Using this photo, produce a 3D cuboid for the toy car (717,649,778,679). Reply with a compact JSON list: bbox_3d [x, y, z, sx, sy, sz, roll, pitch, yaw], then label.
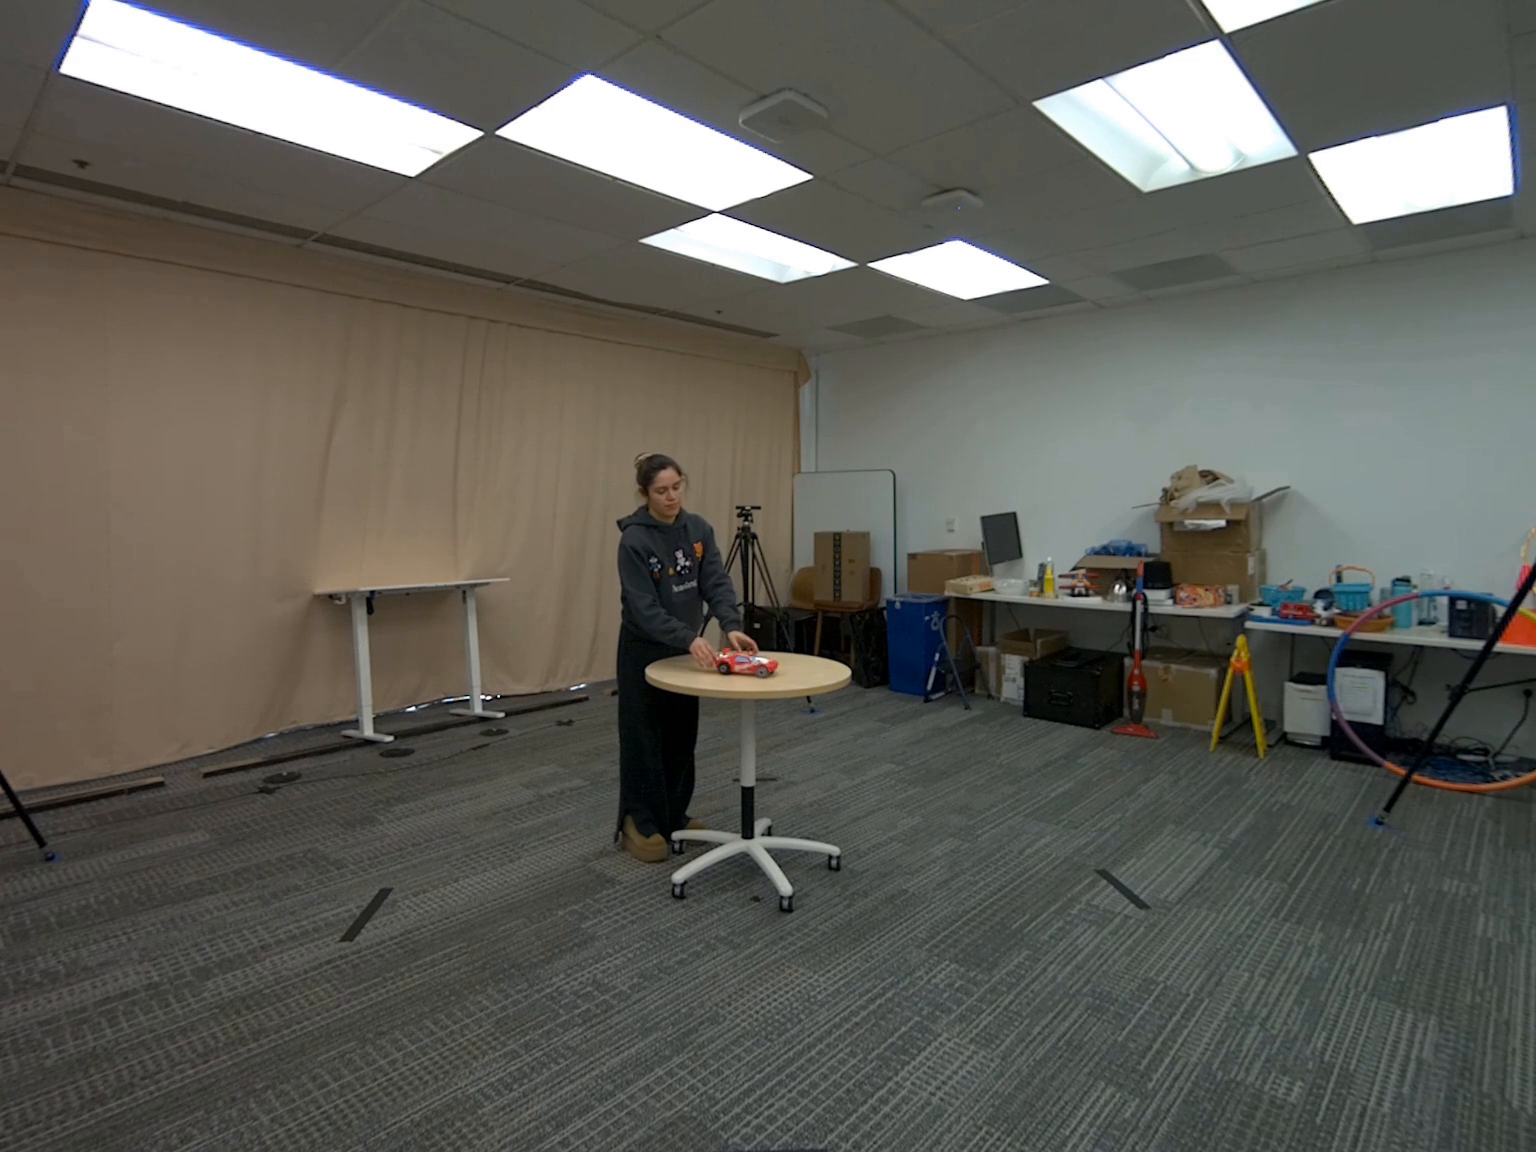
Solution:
[{"bbox_3d":[-0.078,0.322,3.061,0.260,0.083,0.128,12,8,20],"label":"toy car"}]
